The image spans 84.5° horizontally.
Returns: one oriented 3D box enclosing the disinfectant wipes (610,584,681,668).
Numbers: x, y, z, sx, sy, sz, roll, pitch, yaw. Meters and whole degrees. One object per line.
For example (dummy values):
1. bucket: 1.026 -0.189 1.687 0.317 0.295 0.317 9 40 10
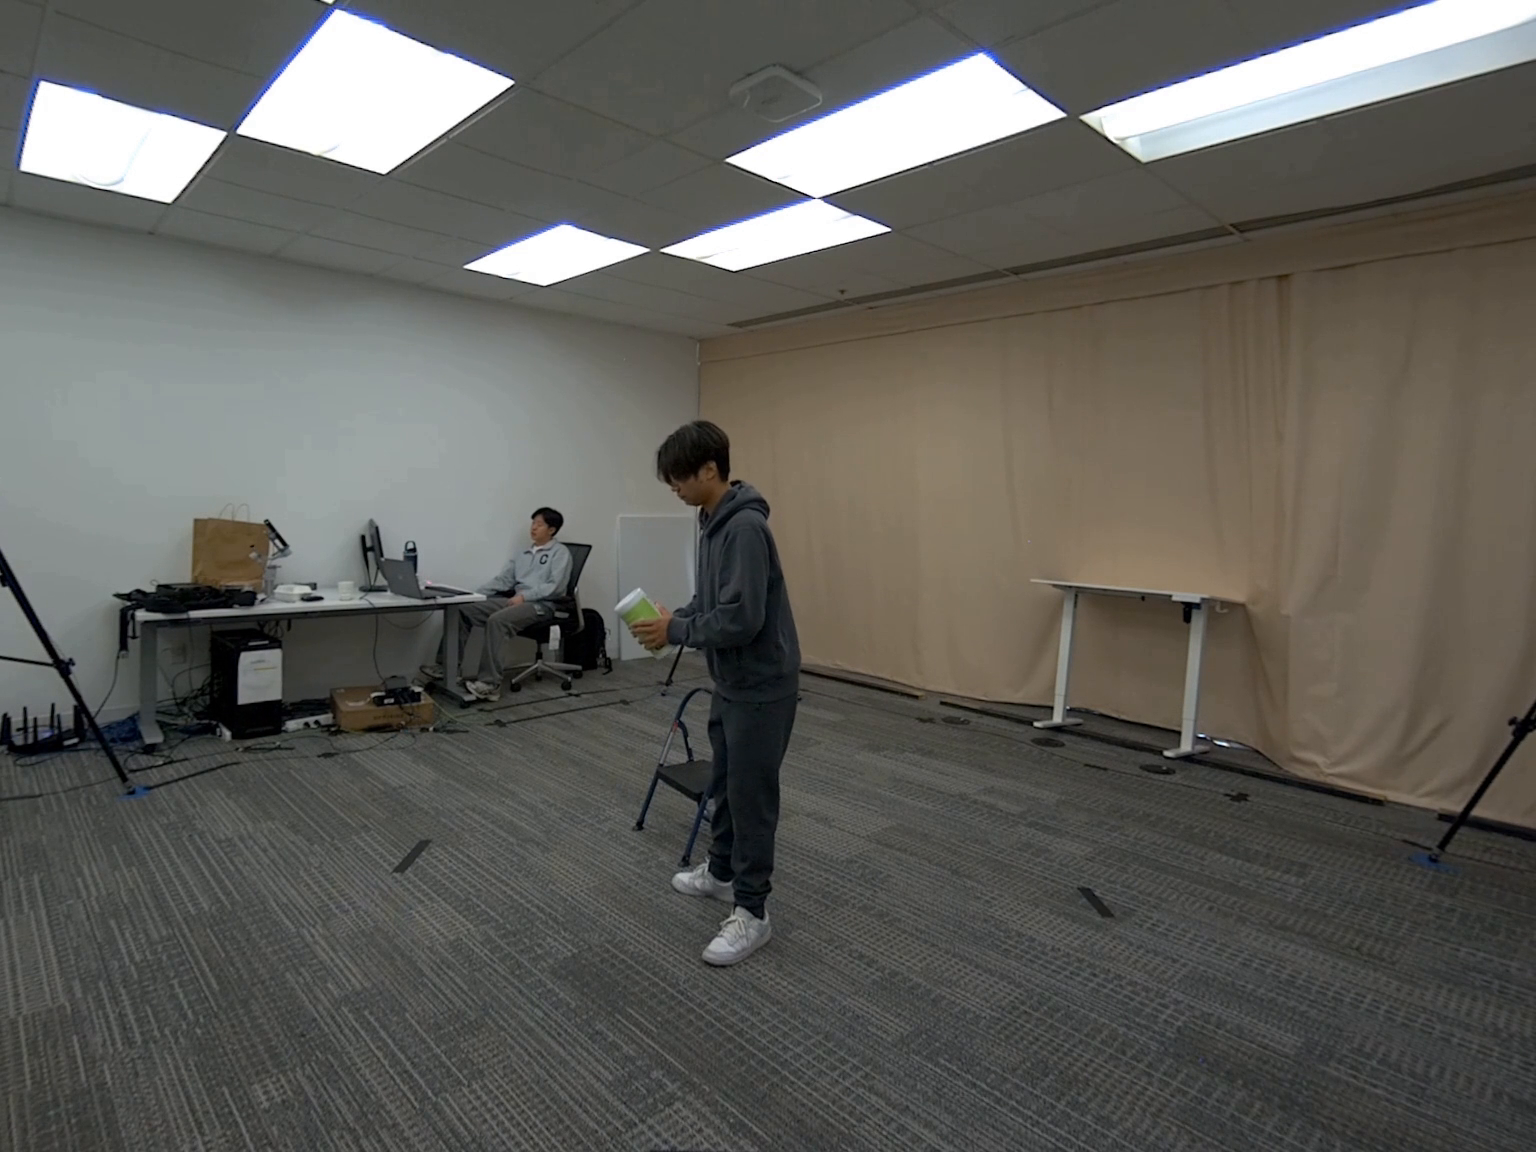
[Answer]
1. disinfectant wipes: -0.370 0.152 2.644 0.118 0.216 0.118 -42 5 3
